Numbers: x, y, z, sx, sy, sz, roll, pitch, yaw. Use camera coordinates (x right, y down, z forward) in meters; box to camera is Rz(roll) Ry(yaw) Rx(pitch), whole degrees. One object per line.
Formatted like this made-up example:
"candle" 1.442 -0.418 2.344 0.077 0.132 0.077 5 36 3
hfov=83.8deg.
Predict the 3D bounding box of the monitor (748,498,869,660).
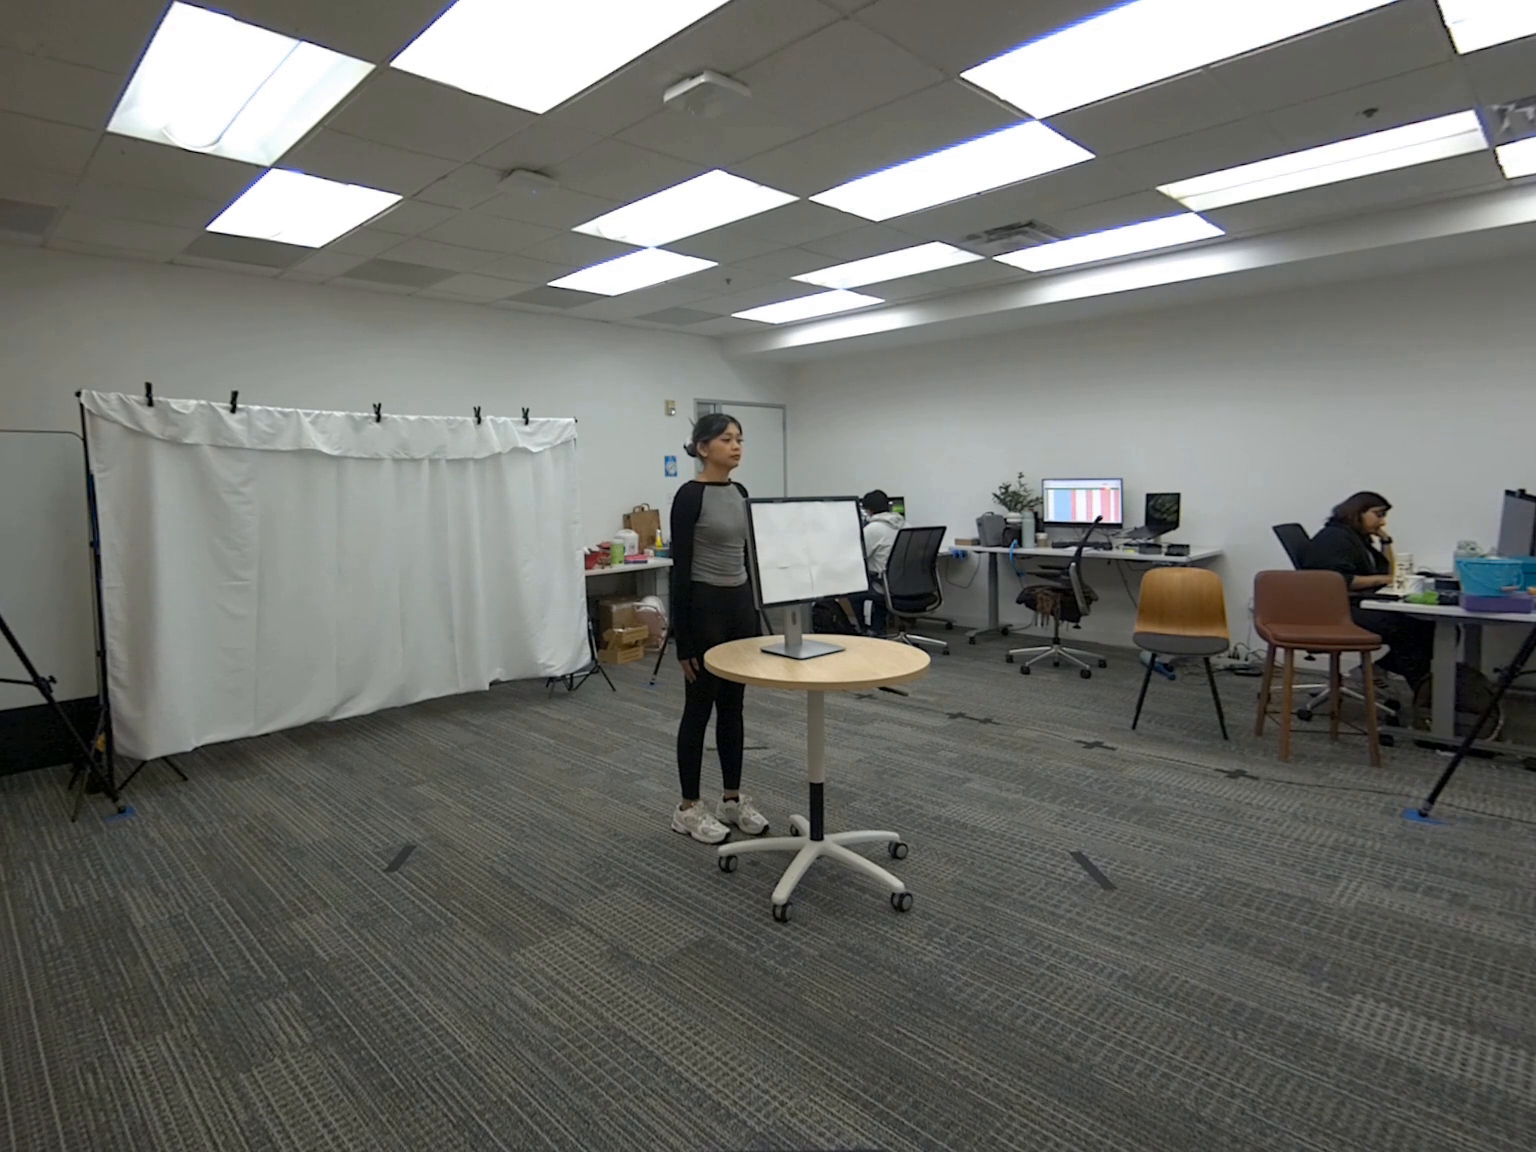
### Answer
"monitor" 0.123 -0.001 2.984 0.525 0.520 0.193 -5 8 -44
